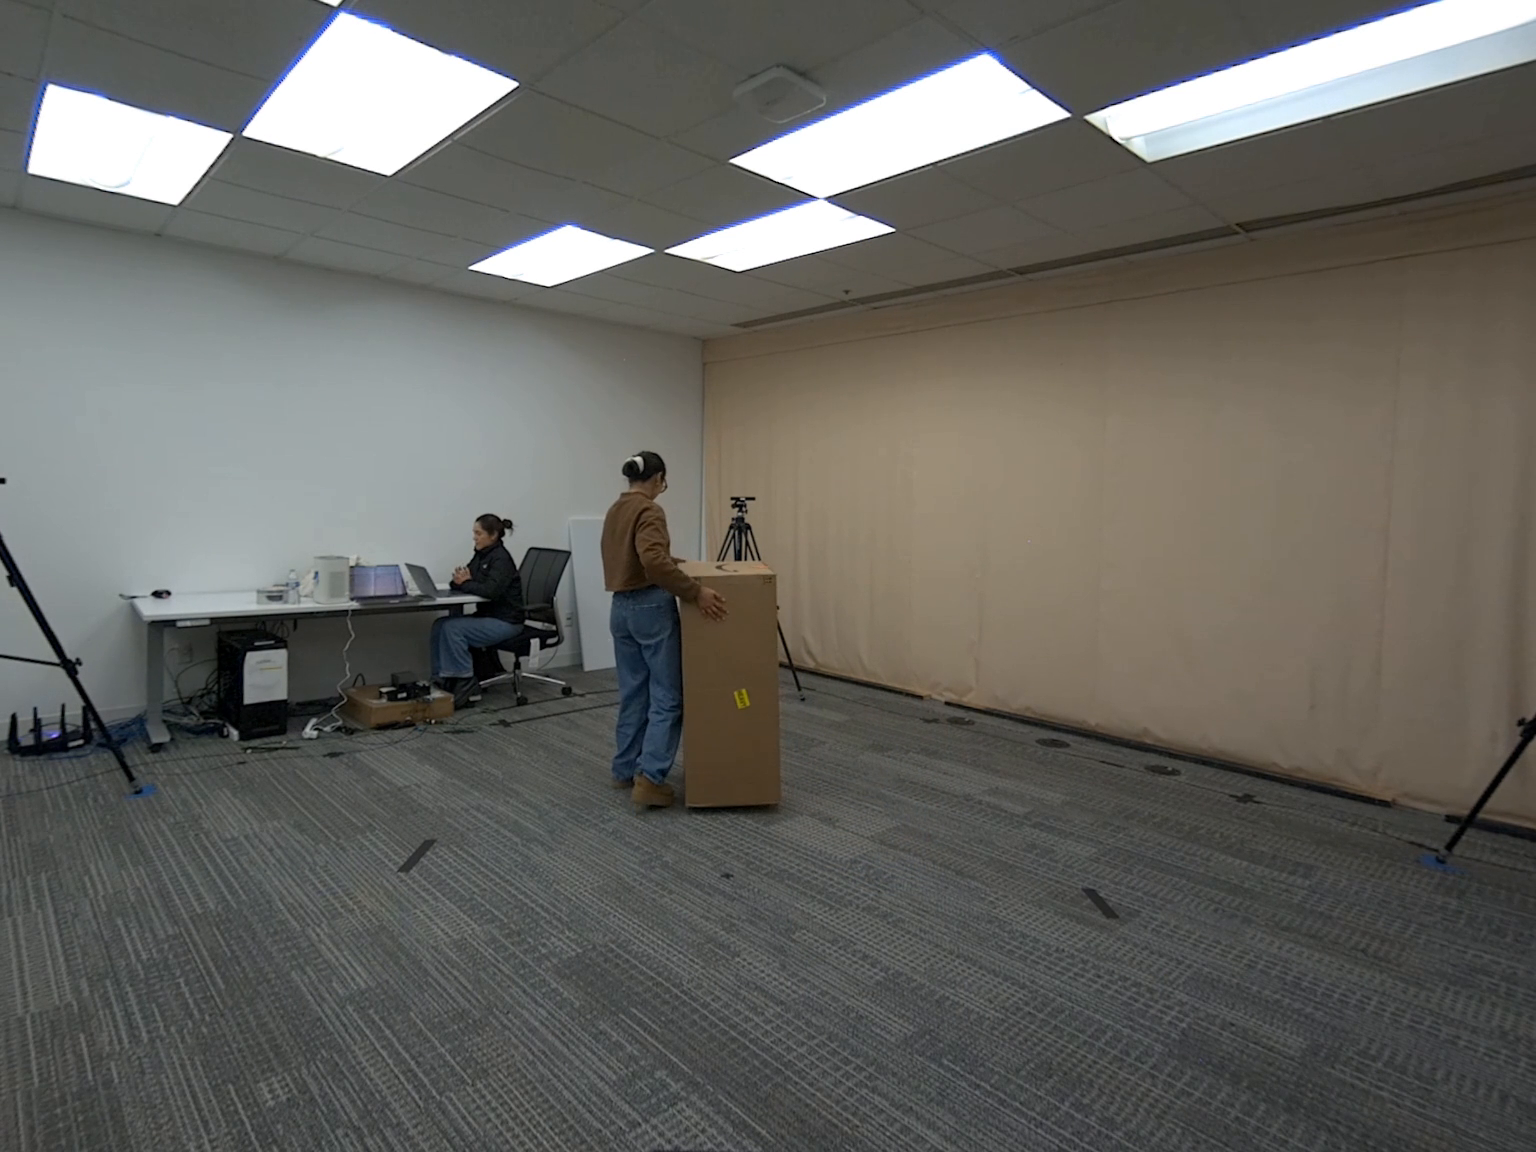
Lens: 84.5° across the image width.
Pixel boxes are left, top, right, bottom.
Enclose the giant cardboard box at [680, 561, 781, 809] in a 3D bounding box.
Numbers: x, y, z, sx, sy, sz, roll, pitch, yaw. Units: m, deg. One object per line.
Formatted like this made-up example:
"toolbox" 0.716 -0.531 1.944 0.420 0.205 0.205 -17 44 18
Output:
"giant cardboard box" -0.195 0.485 3.956 0.424 1.023 0.582 -1 4 -7
